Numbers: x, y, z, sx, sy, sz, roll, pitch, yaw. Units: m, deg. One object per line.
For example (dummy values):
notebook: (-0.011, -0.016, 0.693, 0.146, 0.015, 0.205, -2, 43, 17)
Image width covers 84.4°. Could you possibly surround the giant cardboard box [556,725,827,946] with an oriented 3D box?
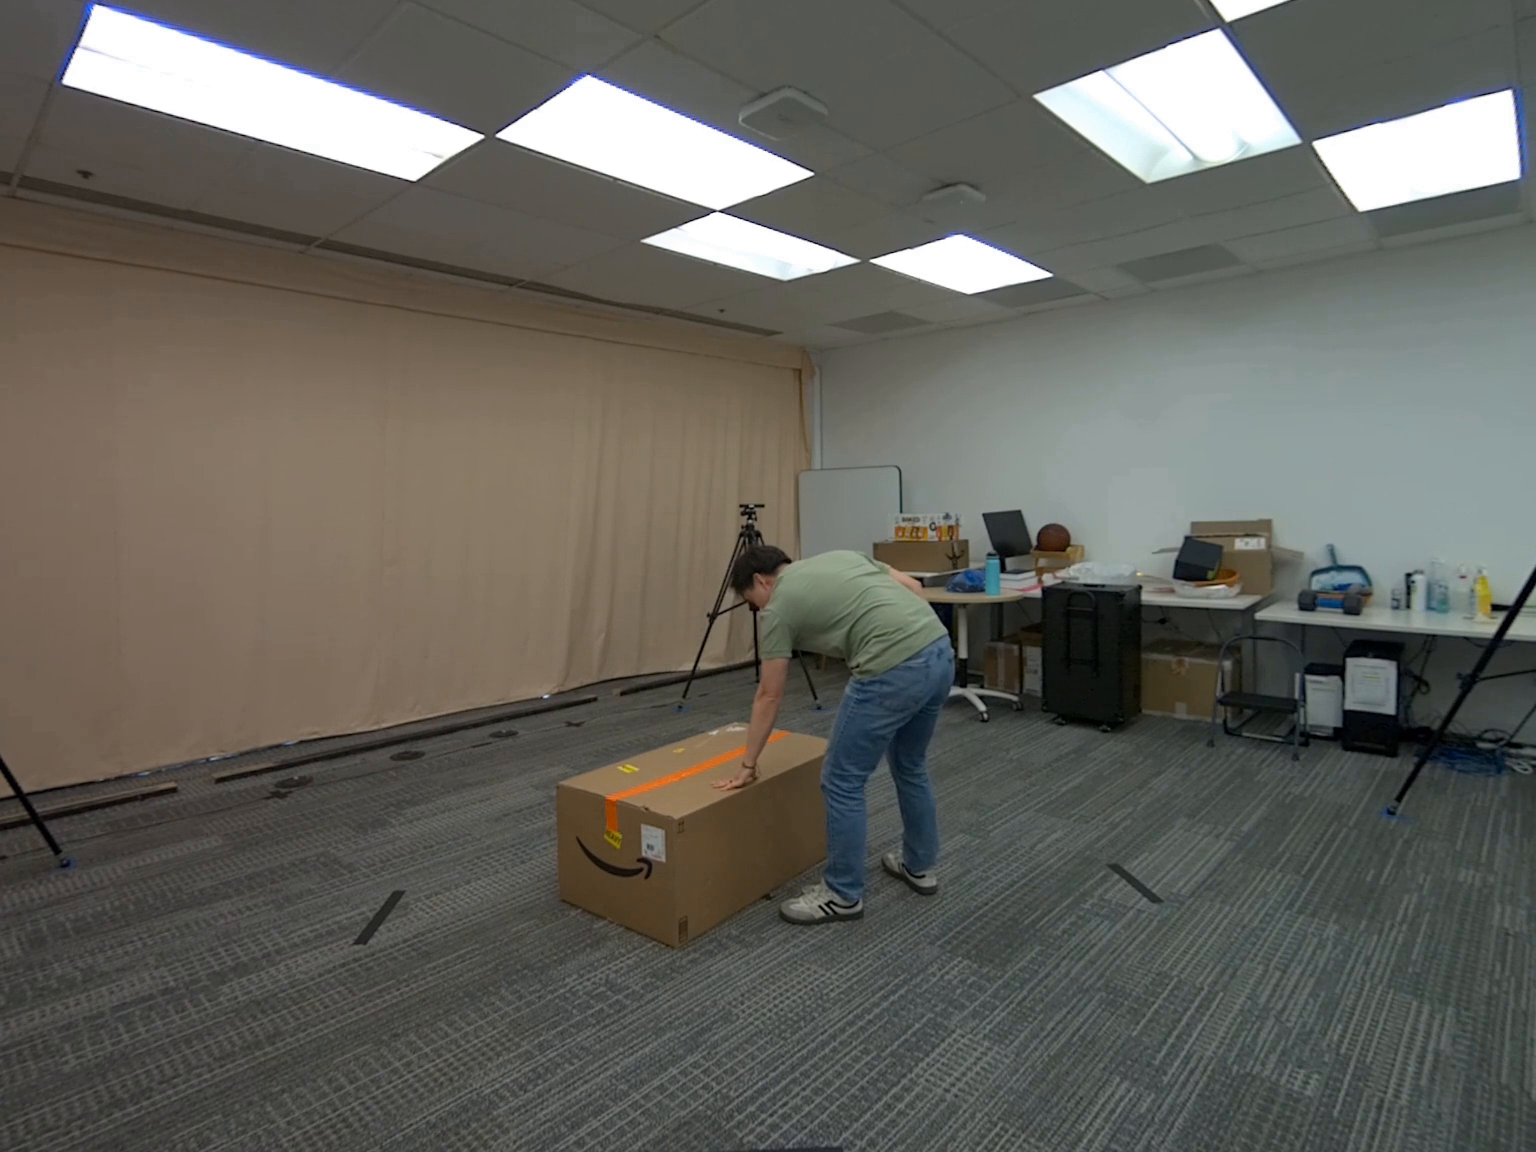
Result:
giant cardboard box: (-0.214, 0.913, 3.197, 0.596, 0.425, 0.996, 2, 6, 38)
